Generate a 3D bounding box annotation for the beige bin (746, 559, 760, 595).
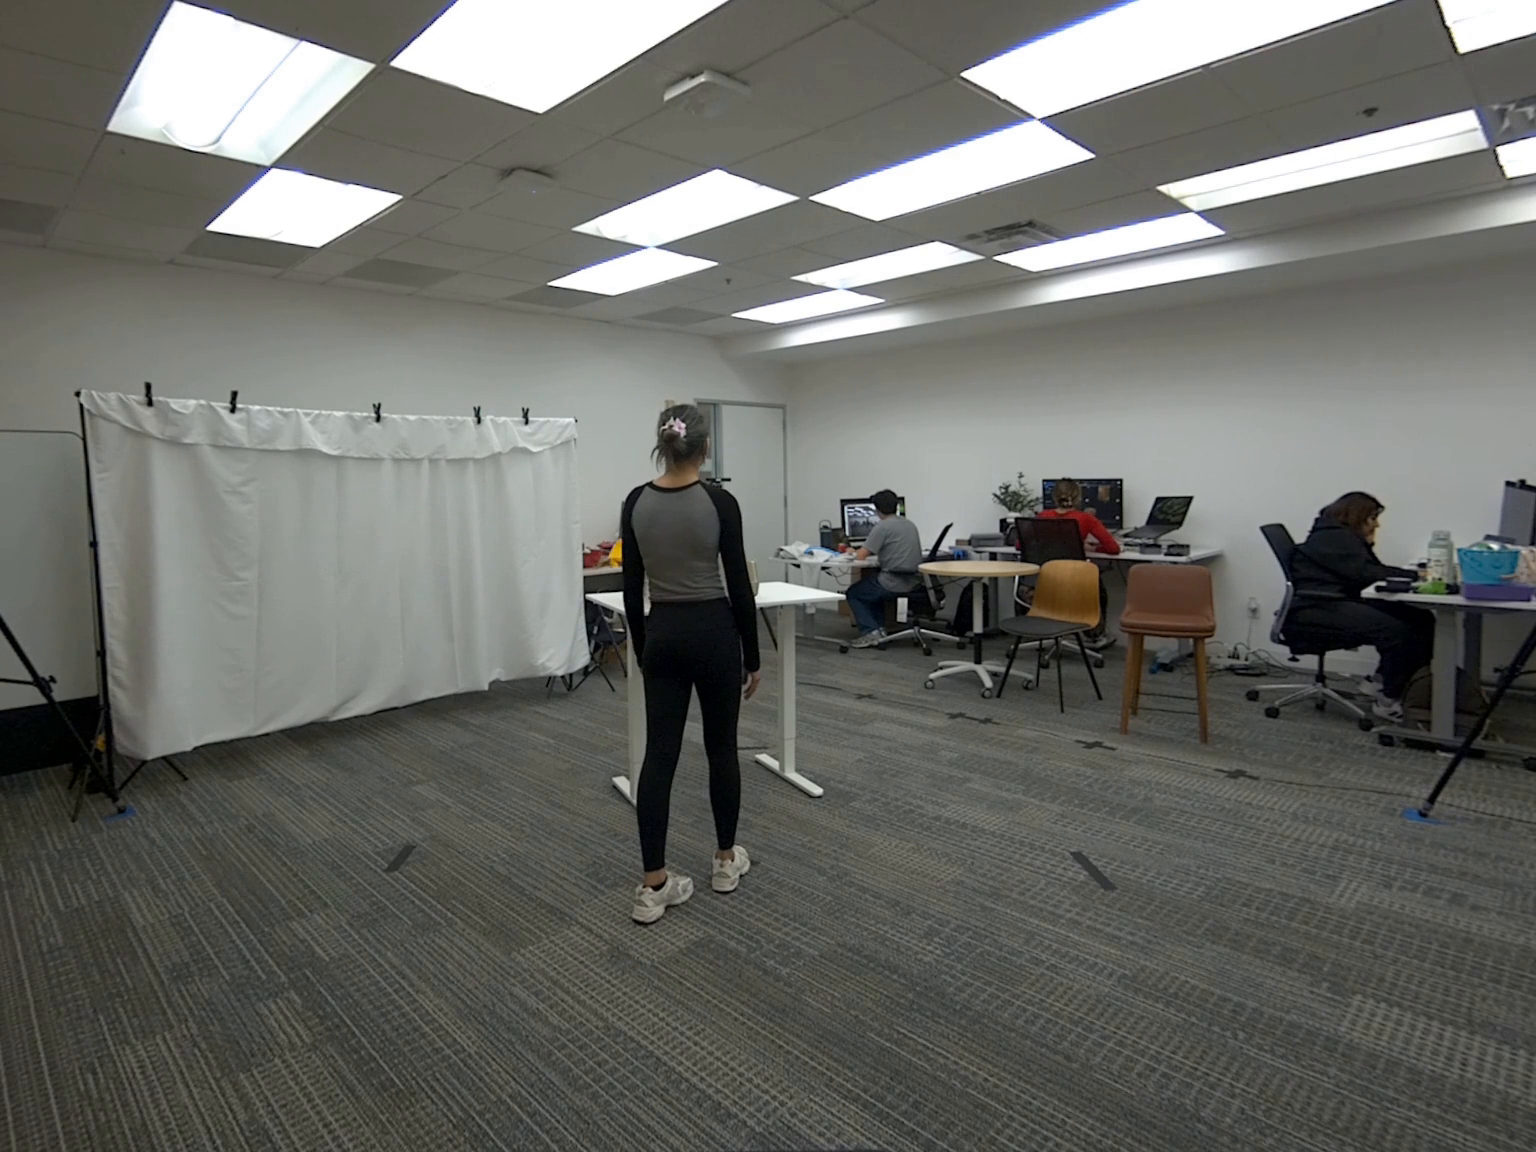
[{"bbox_3d":[-0.301,0.017,3.604,0.413,0.188,0.387,-4,5,-26],"label":"beige bin"}]
